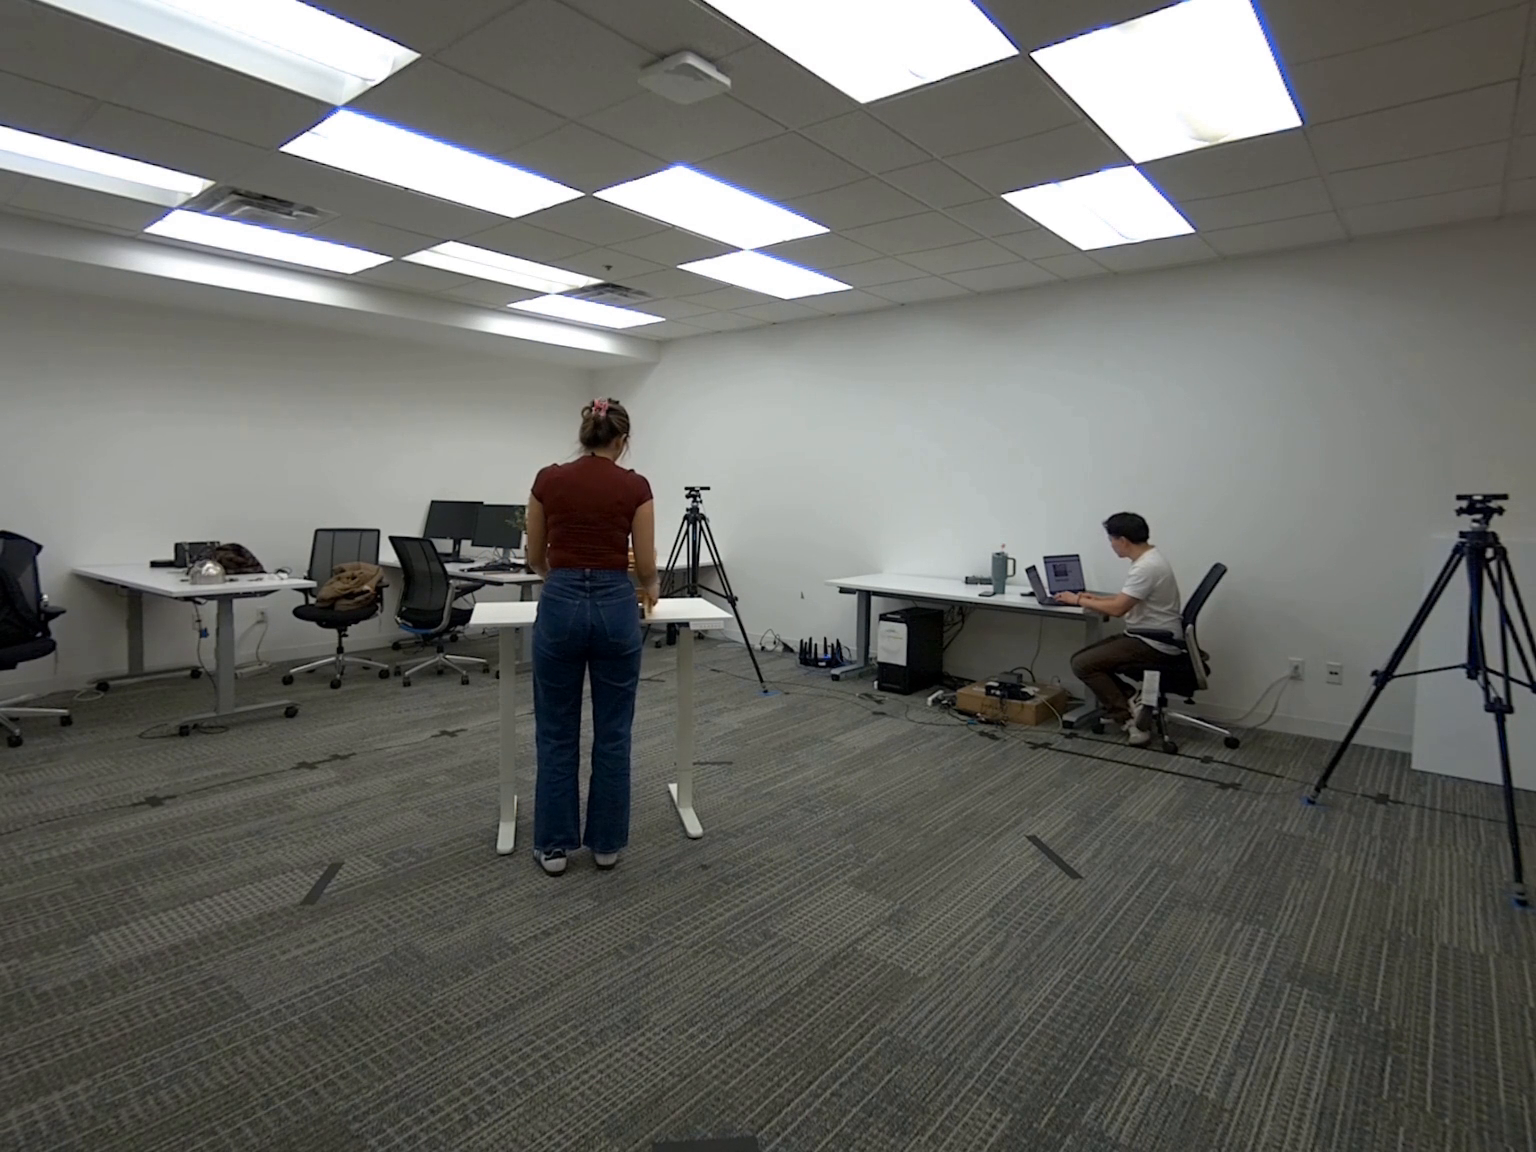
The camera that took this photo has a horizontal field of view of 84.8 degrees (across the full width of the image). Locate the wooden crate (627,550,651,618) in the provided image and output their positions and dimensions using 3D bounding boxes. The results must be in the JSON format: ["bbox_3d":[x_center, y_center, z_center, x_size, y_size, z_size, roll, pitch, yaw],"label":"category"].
[{"bbox_3d":[-0.637,0.017,3.390,0.325,0.272,0.302,1,4,1],"label":"wooden crate"}]
